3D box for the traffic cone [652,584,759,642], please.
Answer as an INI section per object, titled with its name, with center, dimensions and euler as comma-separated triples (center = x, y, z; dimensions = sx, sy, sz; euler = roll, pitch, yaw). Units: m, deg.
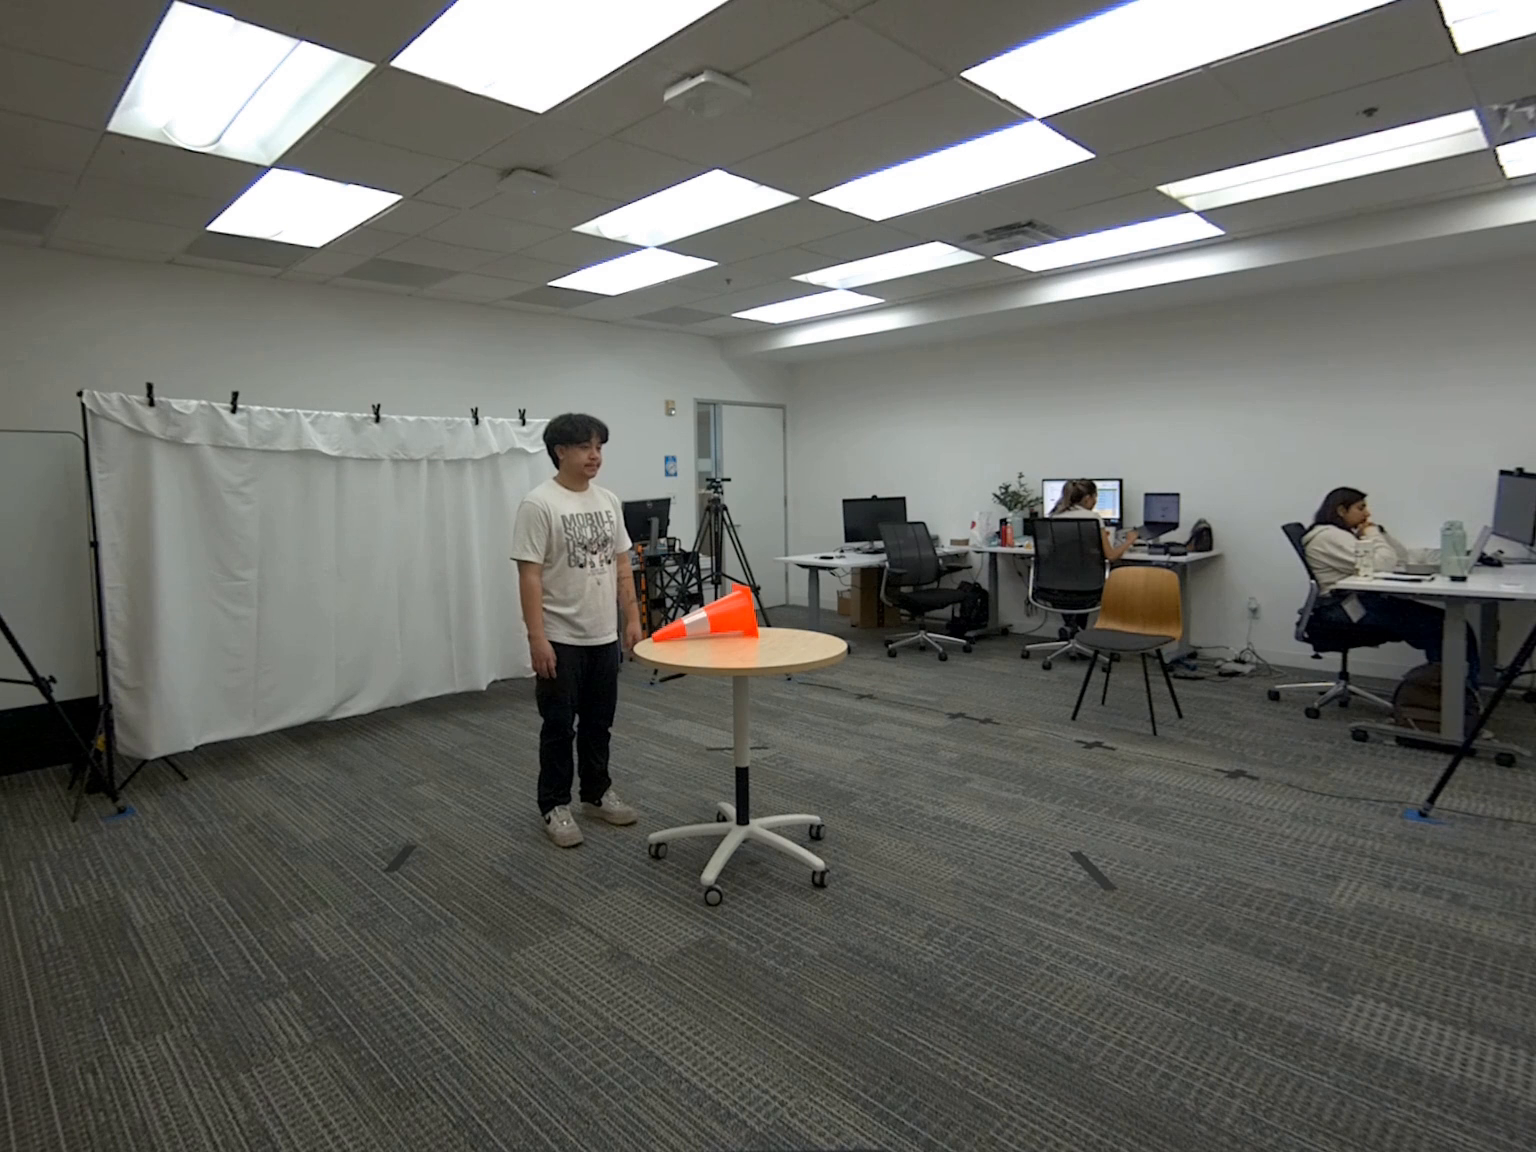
[traffic cone]
center = -0.262, 0.183, 3.223
dimensions = 0.379, 0.200, 0.211
euler = -17, 16, -19
